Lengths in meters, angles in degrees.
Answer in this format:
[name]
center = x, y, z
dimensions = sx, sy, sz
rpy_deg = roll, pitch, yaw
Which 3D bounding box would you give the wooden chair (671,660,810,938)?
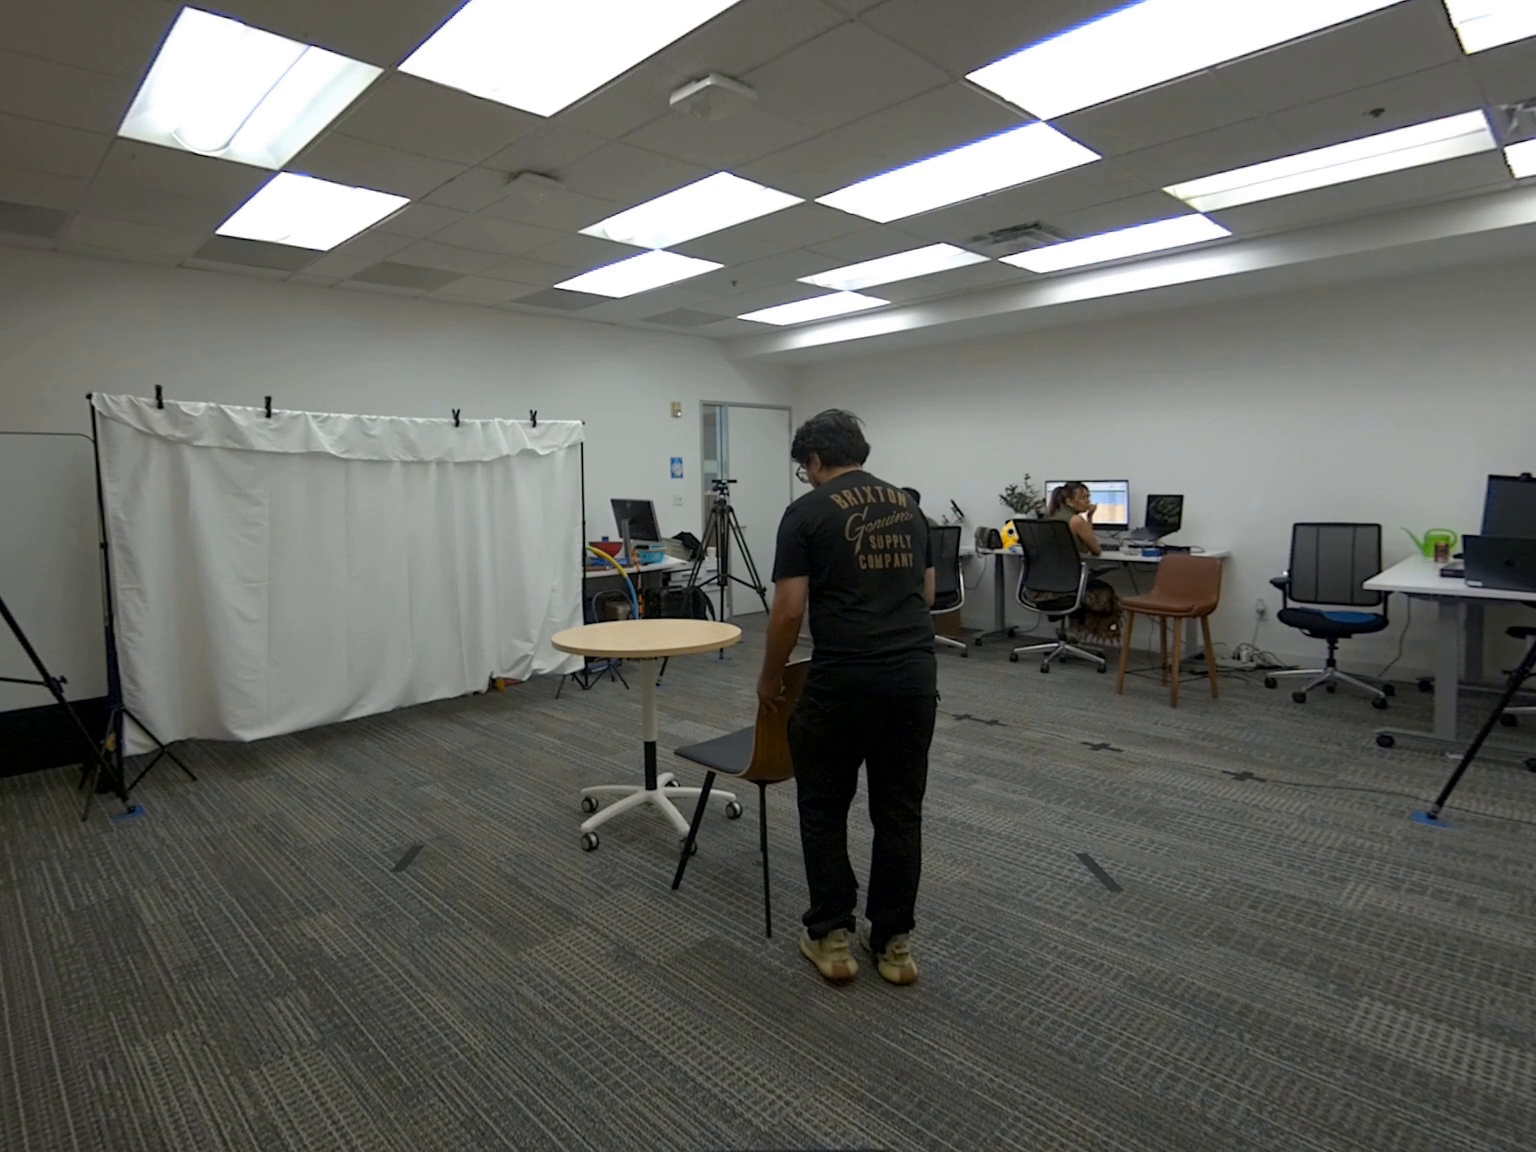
[wooden chair]
center = -0.021, 0.642, 2.891
dimensions = 0.465, 0.872, 0.541
rpy_deg = -5, 11, -44
